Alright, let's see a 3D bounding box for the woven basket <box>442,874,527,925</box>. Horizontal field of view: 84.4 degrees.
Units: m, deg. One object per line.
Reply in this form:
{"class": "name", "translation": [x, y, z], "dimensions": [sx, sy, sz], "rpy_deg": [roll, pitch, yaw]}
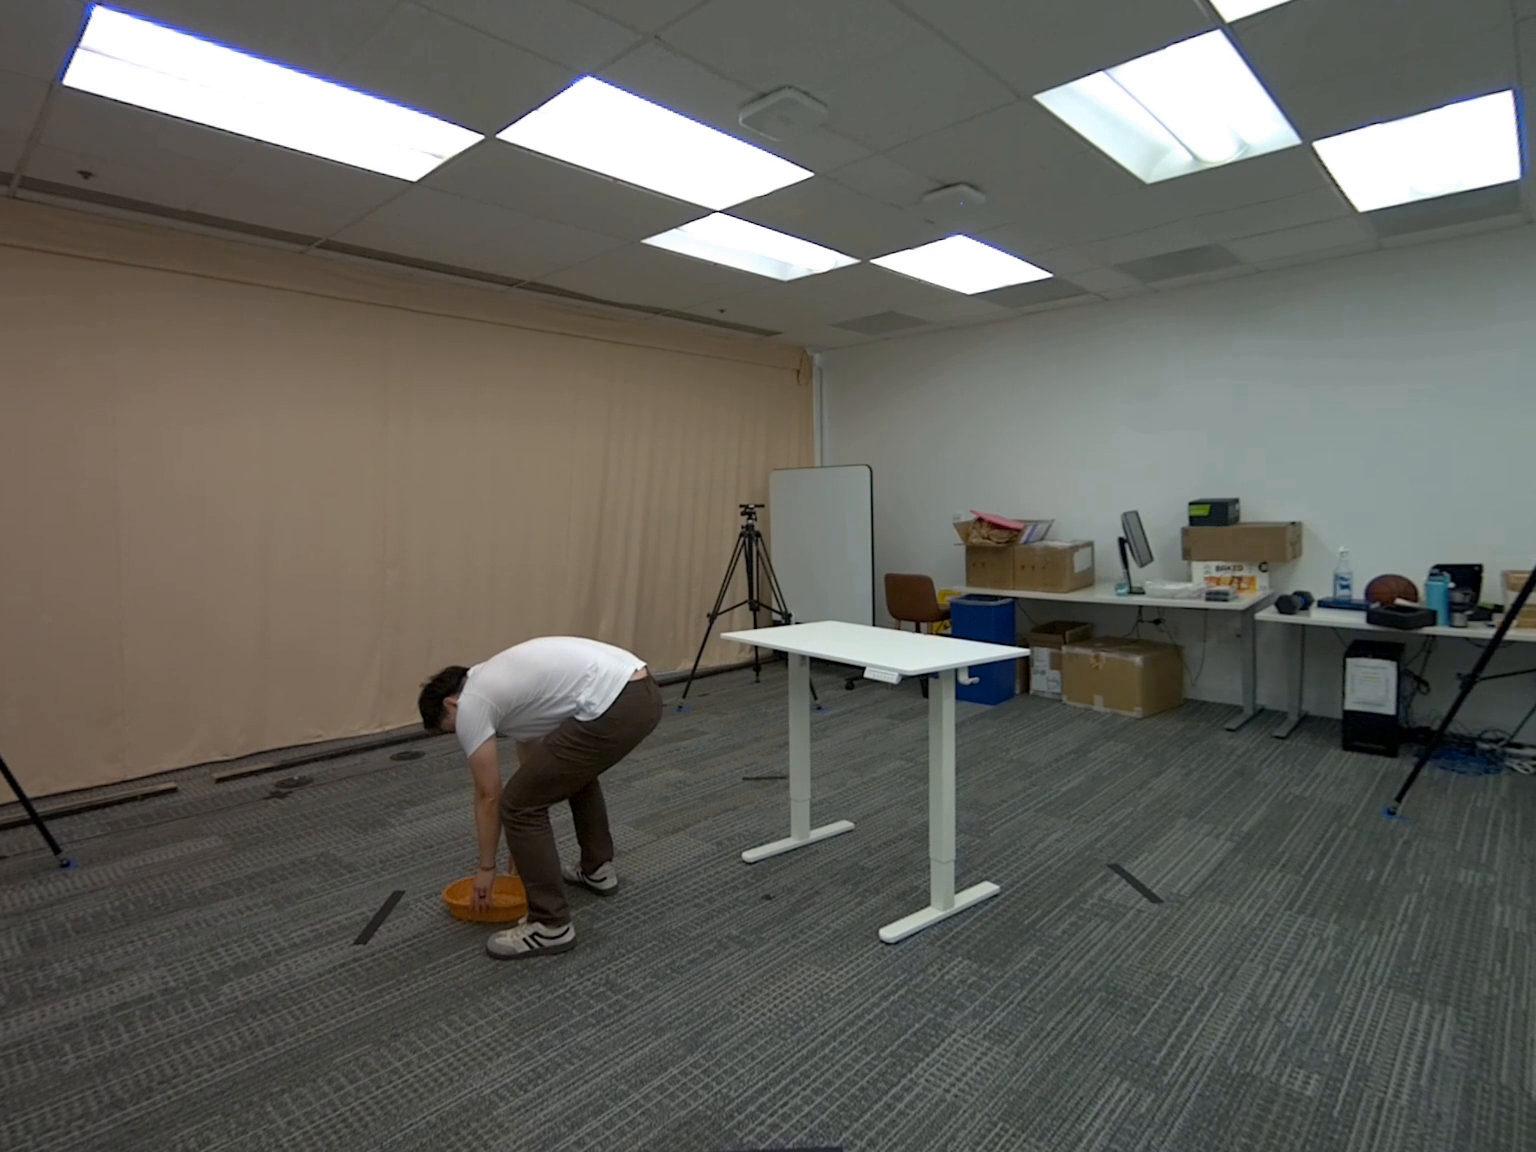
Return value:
{"class": "woven basket", "translation": [-0.964, 1.126, 2.937], "dimensions": [0.355, 0.073, 0.250], "rpy_deg": [0, 4, 11]}
